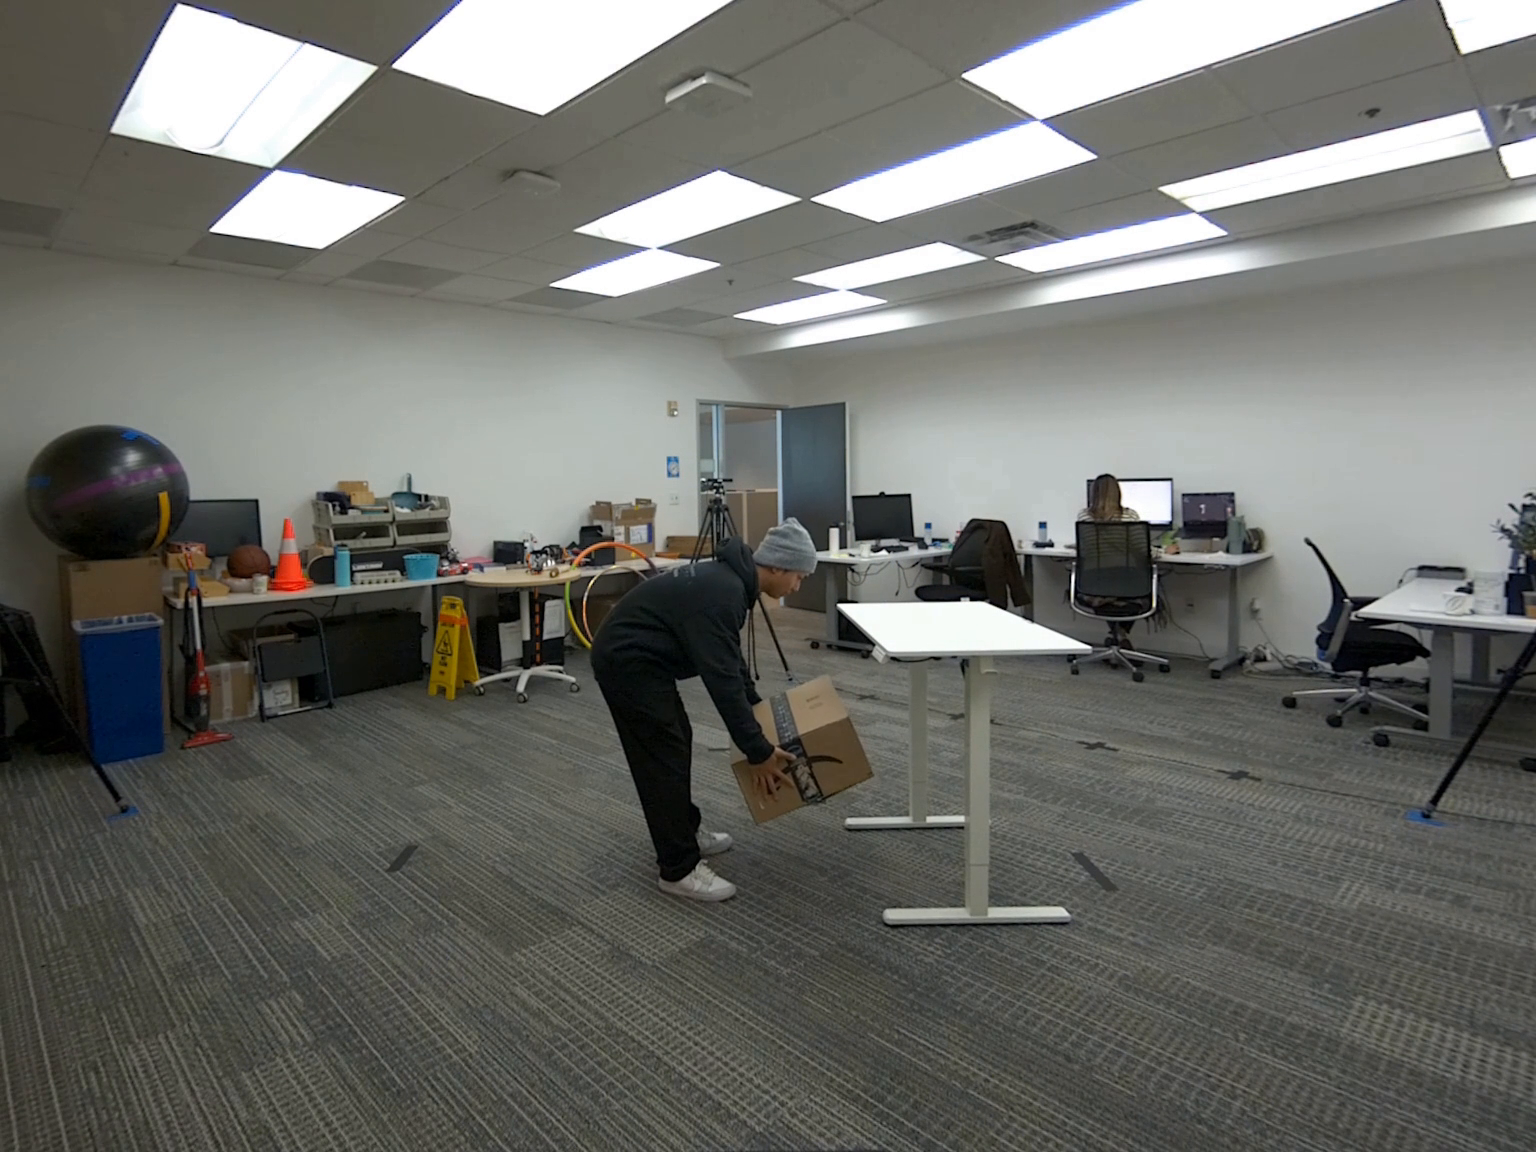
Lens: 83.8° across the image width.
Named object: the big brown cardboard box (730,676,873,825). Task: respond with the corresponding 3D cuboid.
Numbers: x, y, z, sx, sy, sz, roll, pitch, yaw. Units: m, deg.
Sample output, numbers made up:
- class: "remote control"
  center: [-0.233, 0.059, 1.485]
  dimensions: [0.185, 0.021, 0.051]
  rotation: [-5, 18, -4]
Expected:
- class: "big brown cardboard box"
  center: [0.093, 0.592, 3.009]
  dimensions: [0.418, 0.231, 0.592]
  rotation: [-21, 8, 2]
